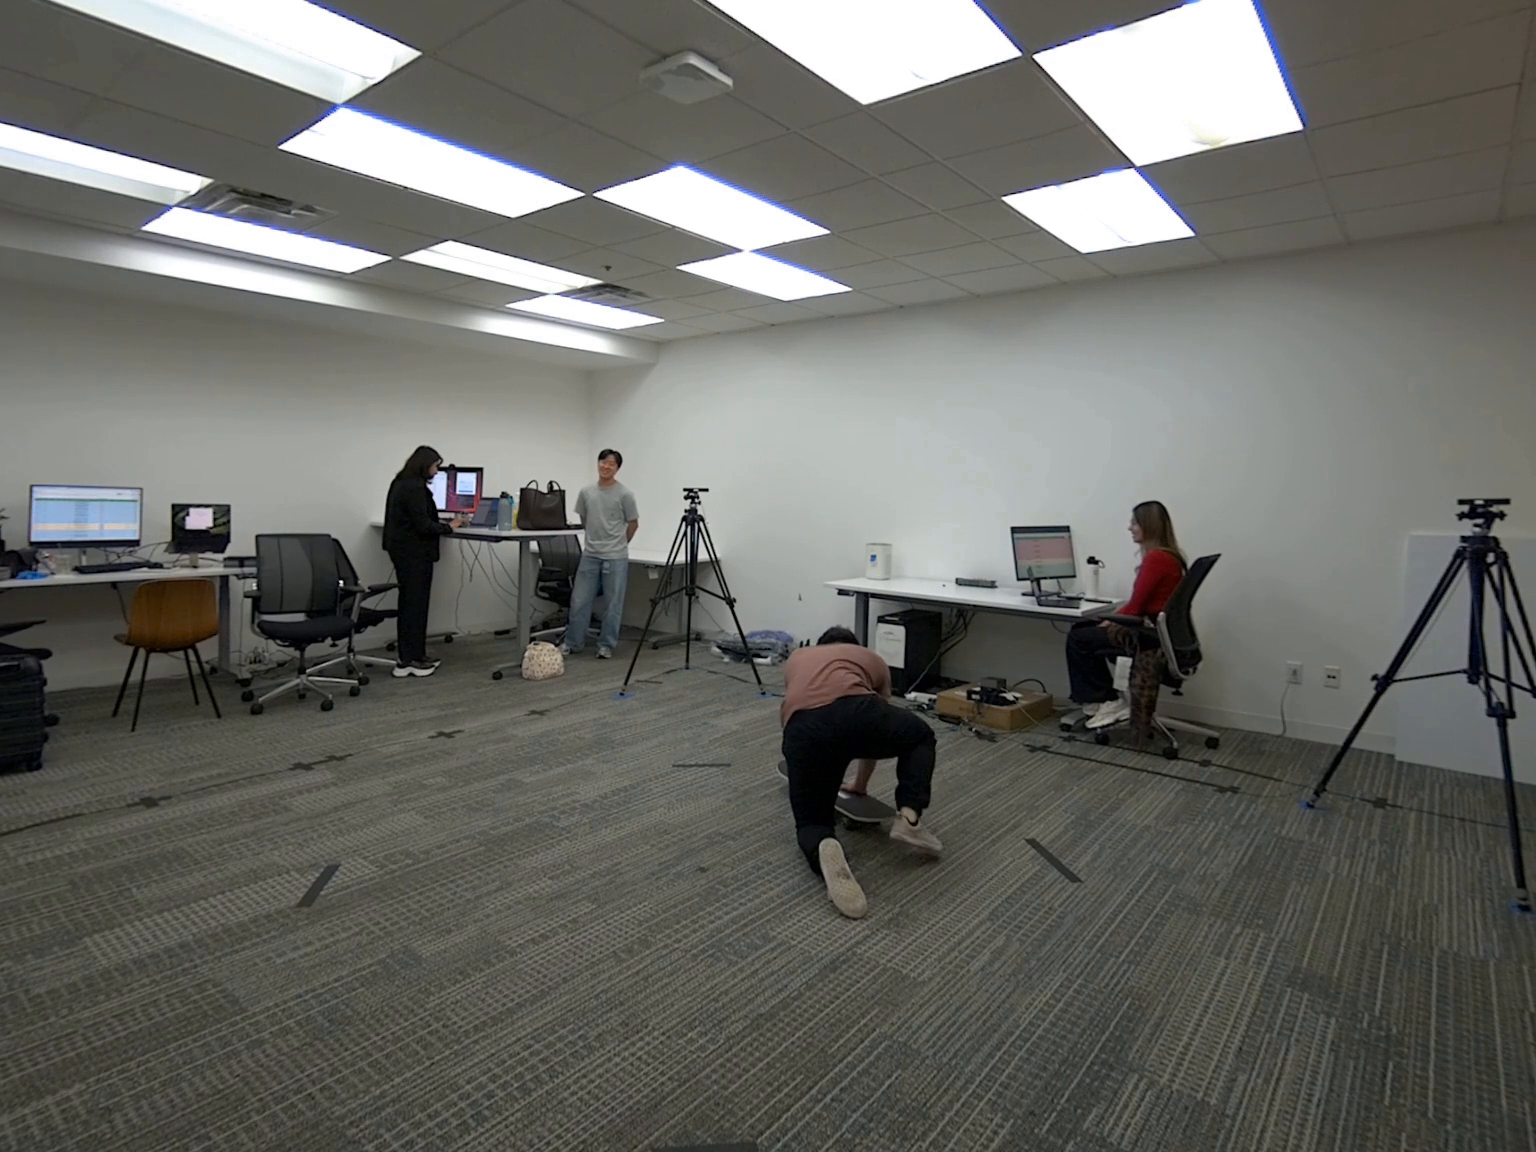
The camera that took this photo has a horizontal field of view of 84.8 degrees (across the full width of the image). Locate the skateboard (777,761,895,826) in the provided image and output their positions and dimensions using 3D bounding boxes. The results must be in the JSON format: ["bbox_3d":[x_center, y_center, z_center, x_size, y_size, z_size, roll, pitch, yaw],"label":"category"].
[{"bbox_3d":[0.281,0.964,3.723,0.189,0.110,0.809,-5,8,-28],"label":"skateboard"}]
